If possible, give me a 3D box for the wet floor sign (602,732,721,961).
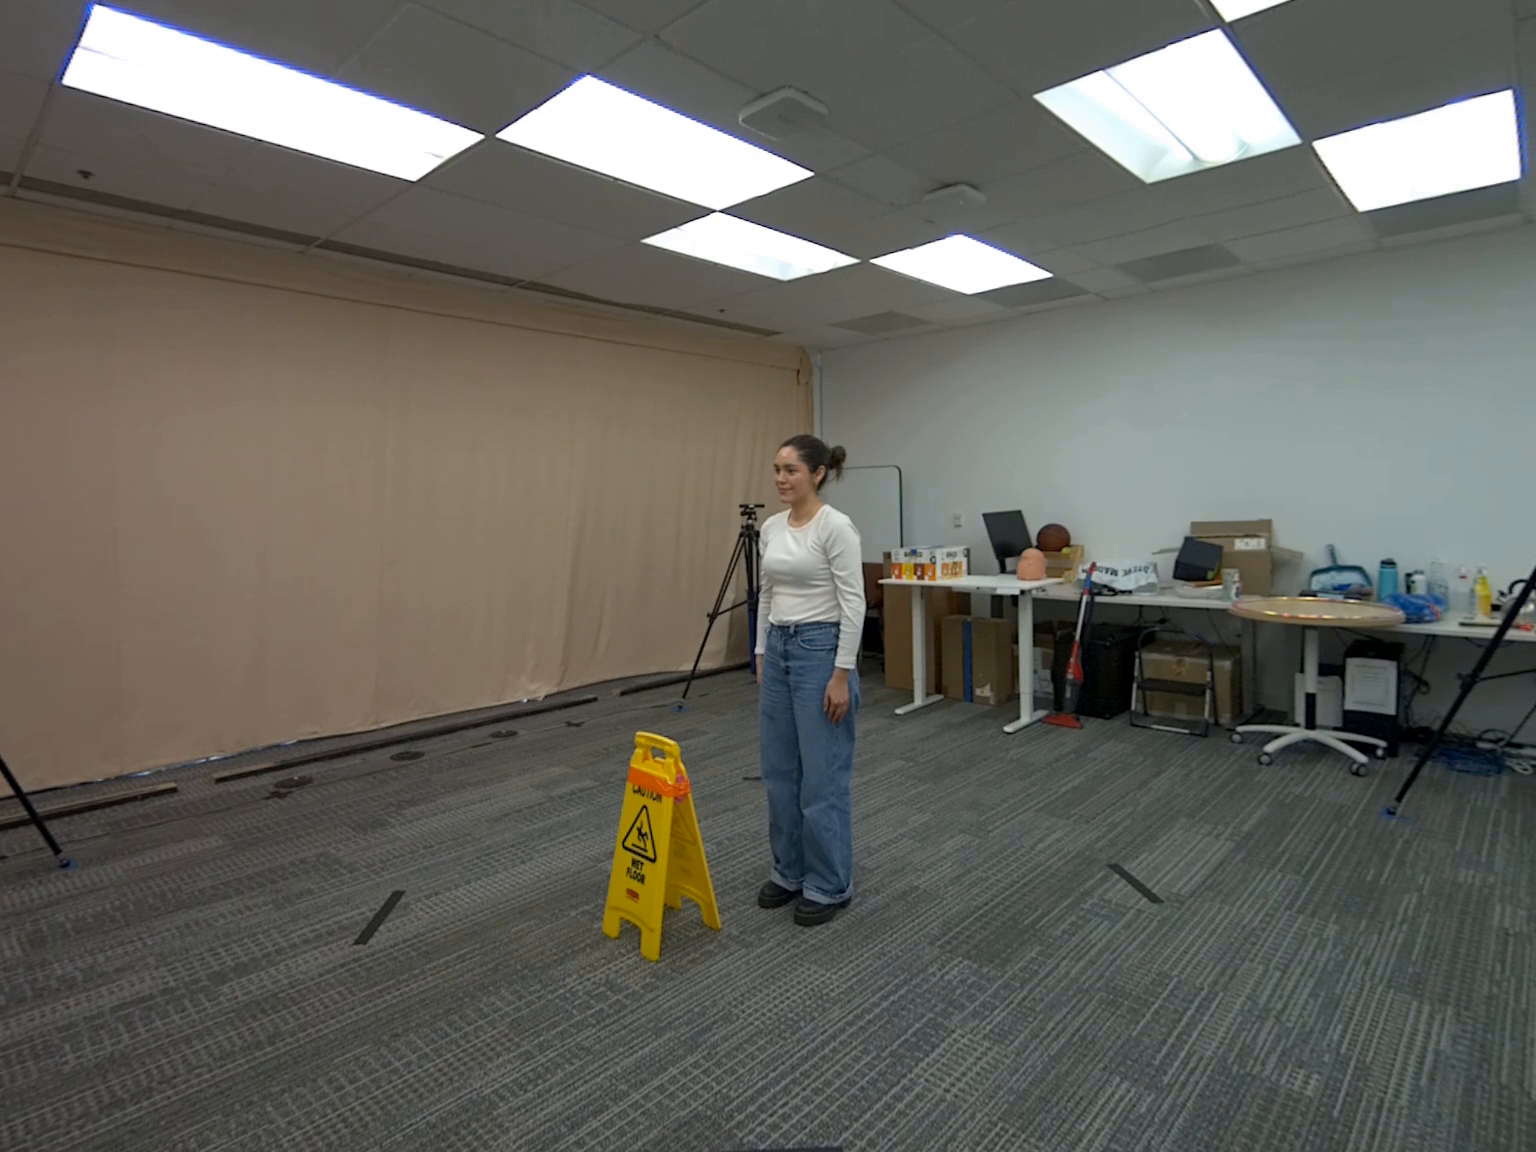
[{"bbox_3d":[-0.350,0.845,2.755,0.291,0.645,0.281,2,4,45],"label":"wet floor sign"}]
